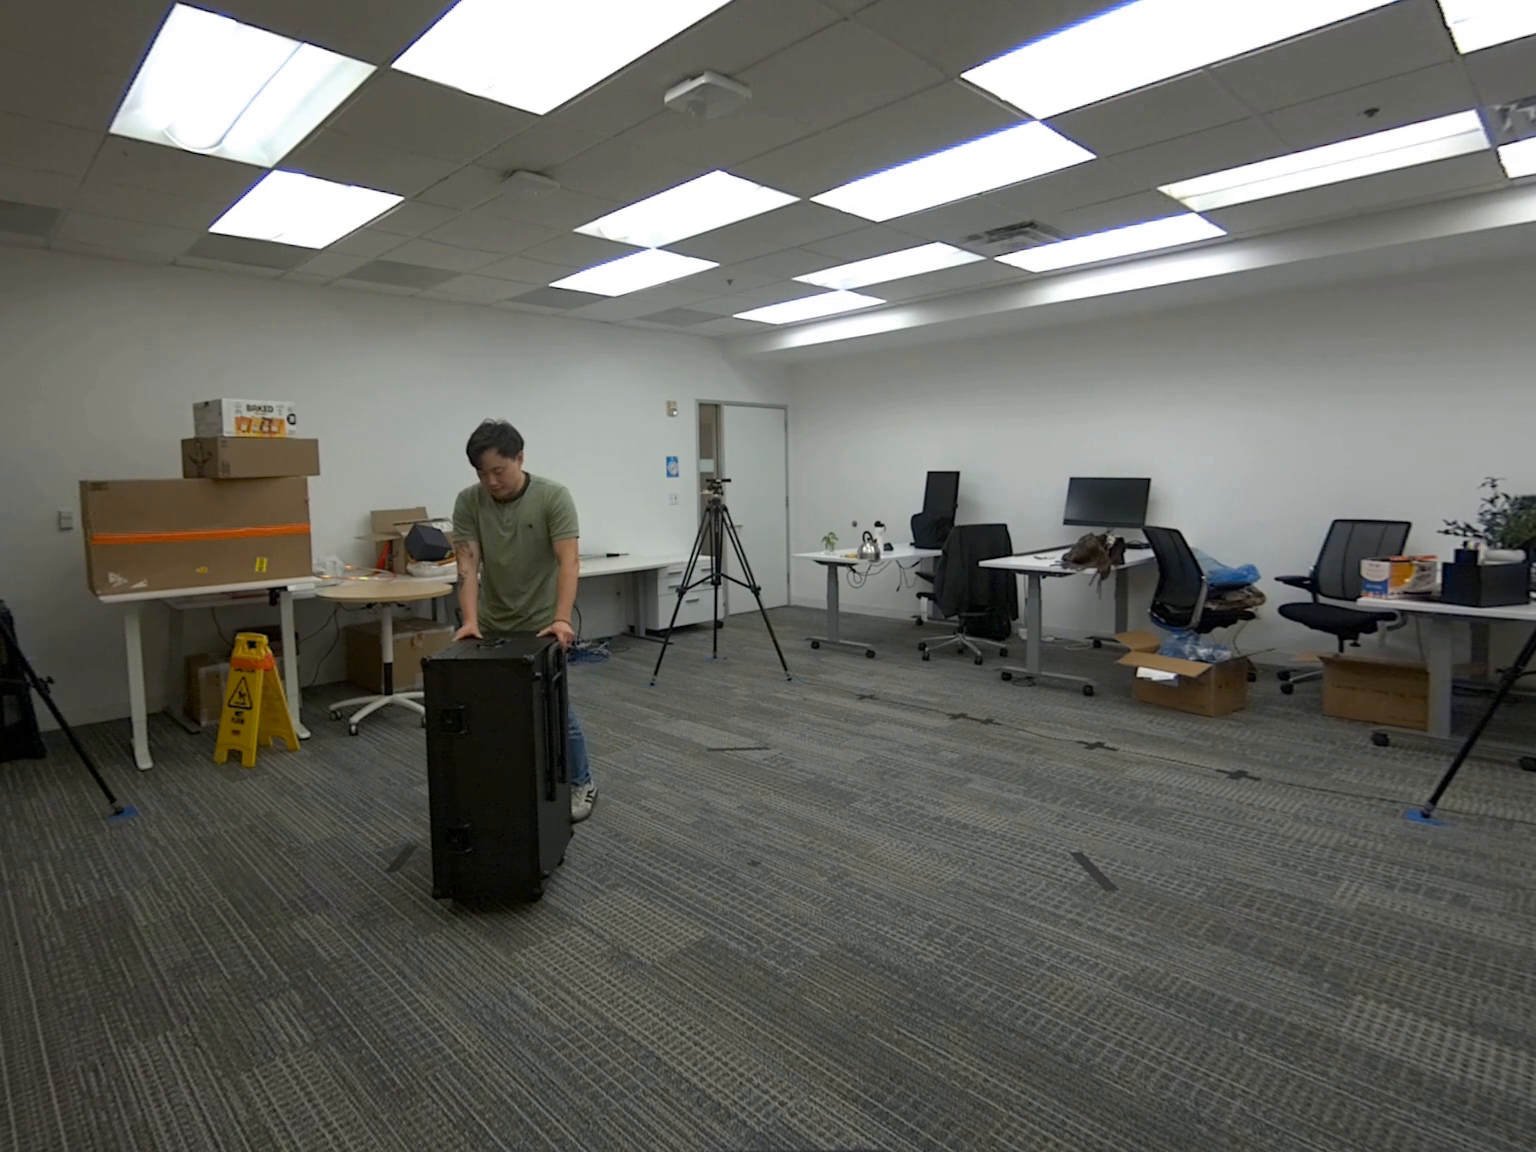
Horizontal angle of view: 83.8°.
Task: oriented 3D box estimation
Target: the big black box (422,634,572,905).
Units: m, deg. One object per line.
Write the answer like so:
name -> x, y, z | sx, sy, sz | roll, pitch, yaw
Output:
big black box -> -0.901, 0.660, 2.962 | 0.397, 0.858, 0.522 | 0, 4, 1
